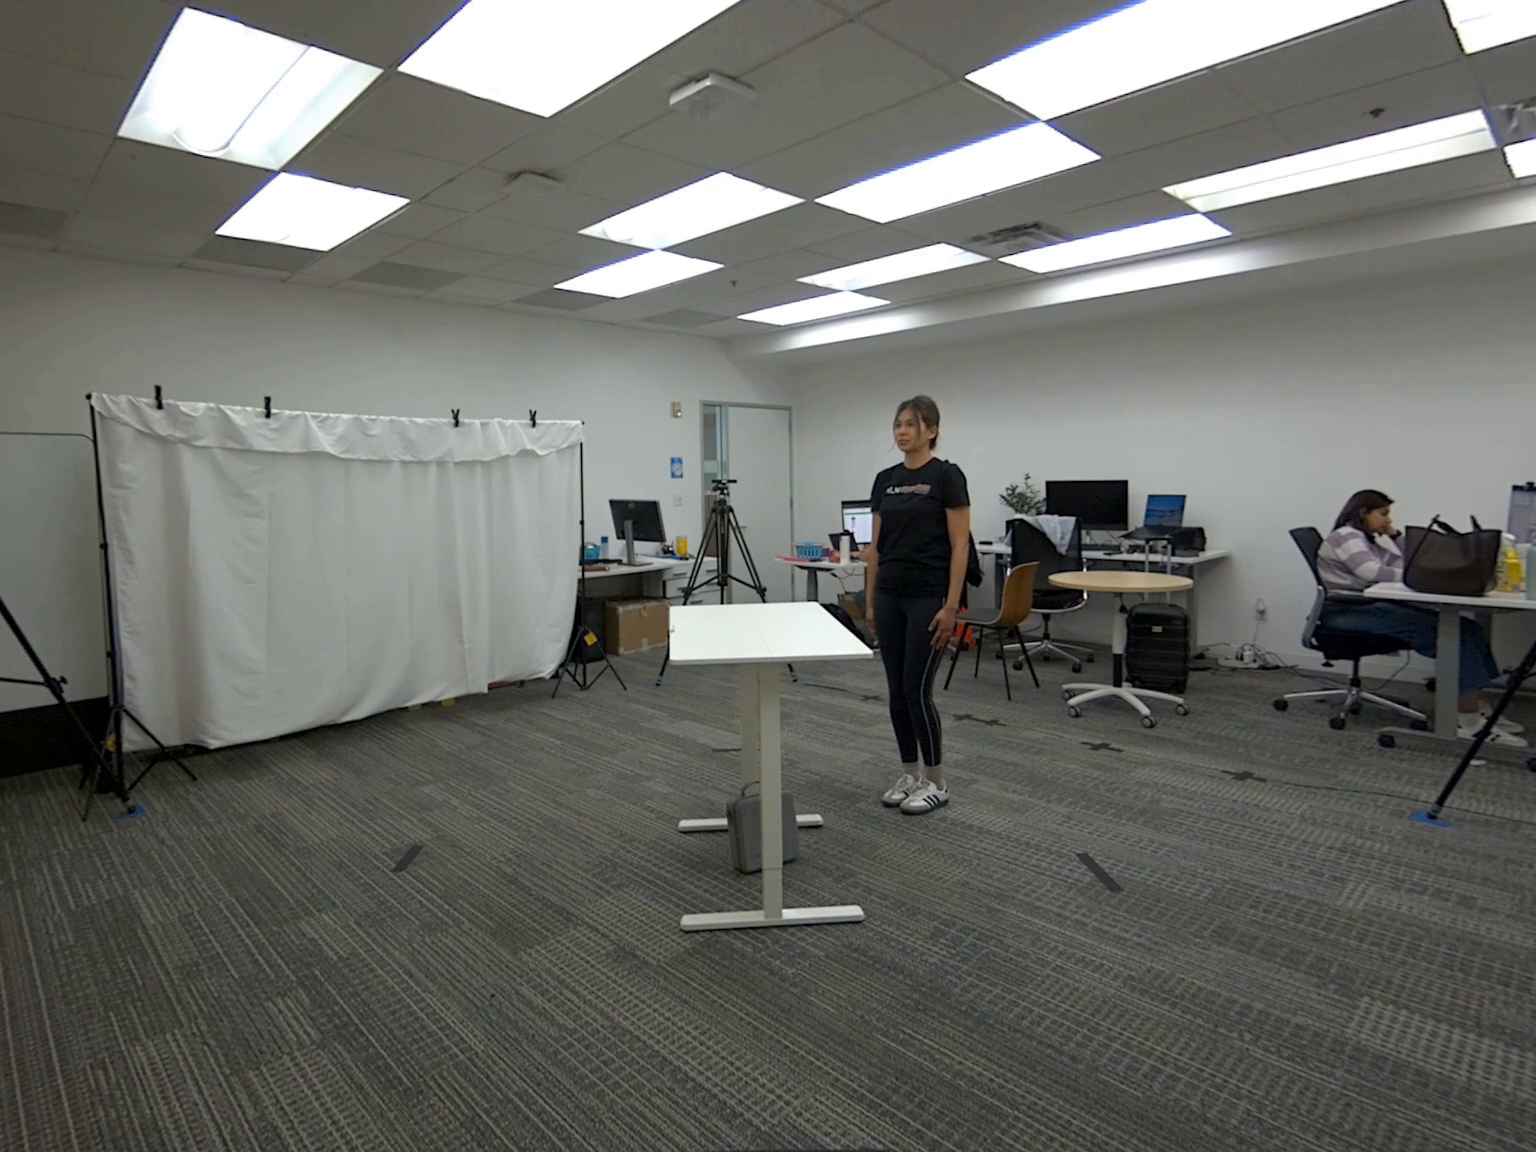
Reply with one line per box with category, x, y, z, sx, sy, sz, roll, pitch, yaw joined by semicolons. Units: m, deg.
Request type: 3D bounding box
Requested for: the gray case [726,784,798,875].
gray case;-0.020;0.916;3.111;0.251;0.262;0.106;-3;-6;-31
